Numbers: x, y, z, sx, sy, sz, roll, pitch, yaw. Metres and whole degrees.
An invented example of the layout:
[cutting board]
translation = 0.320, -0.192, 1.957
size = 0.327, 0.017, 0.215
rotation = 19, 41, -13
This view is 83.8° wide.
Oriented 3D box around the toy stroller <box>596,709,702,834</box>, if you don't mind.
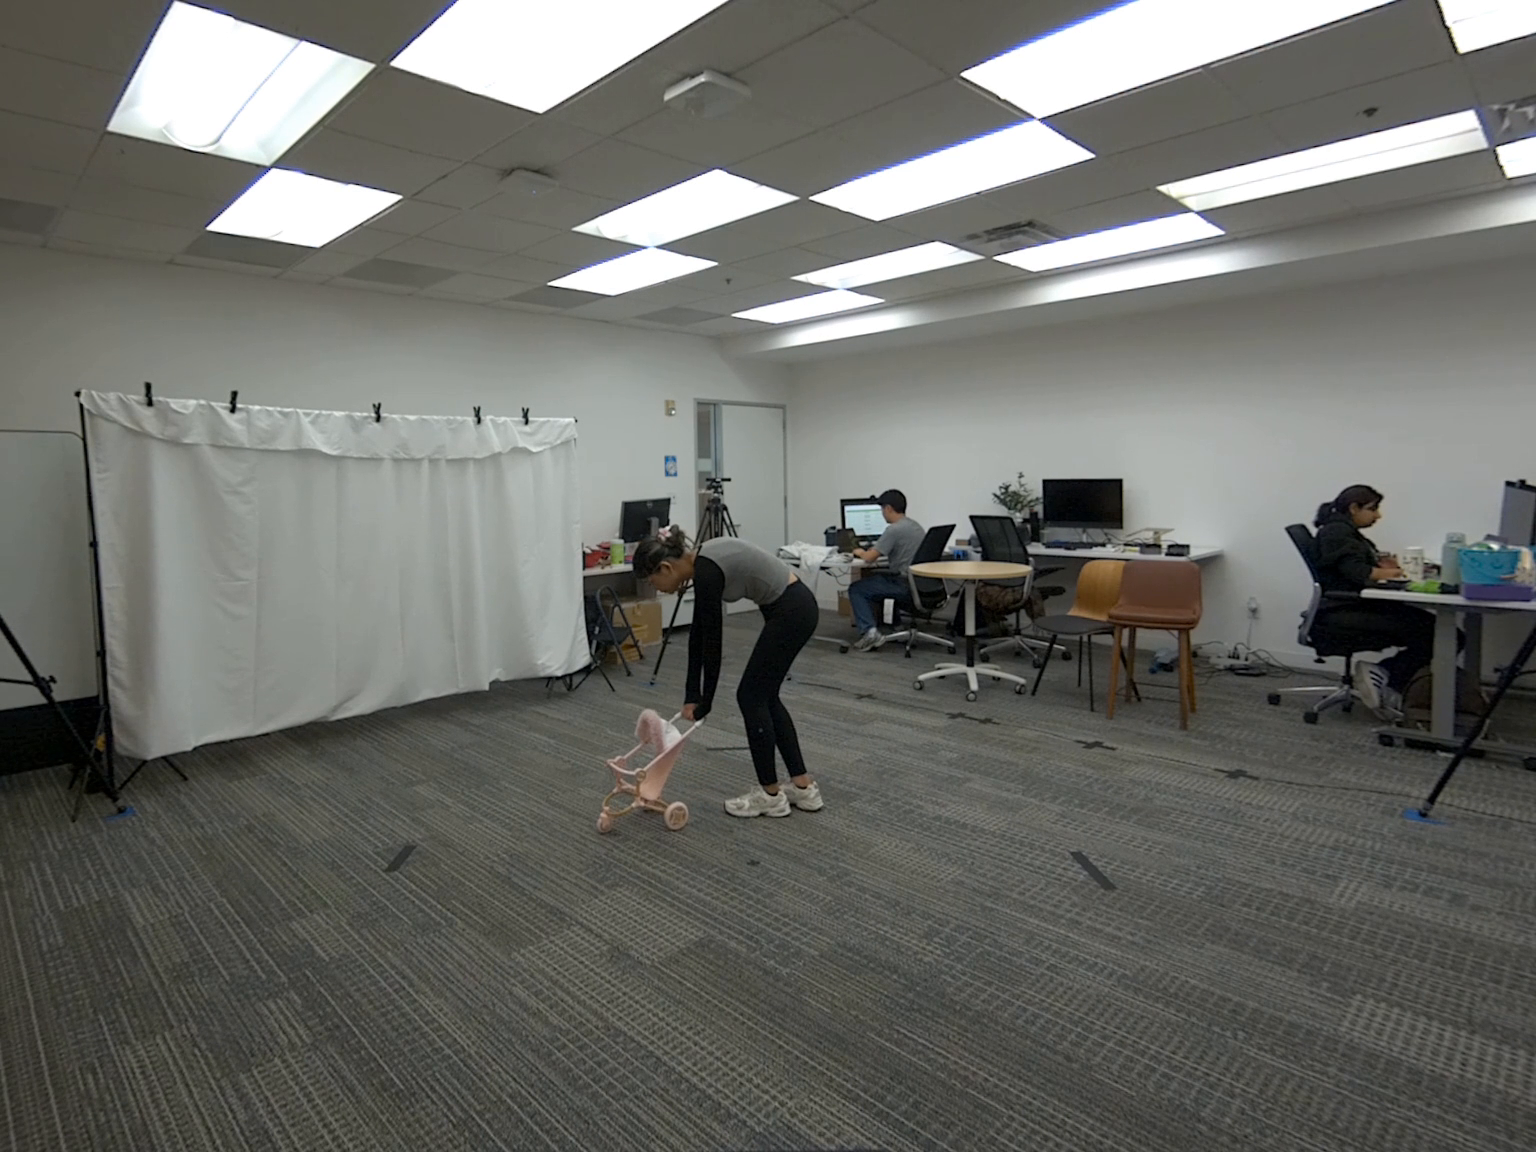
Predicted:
[toy stroller]
translation = -0.490, 0.784, 3.480
size = 0.332, 0.536, 0.289
rotation = 15, -5, -28
